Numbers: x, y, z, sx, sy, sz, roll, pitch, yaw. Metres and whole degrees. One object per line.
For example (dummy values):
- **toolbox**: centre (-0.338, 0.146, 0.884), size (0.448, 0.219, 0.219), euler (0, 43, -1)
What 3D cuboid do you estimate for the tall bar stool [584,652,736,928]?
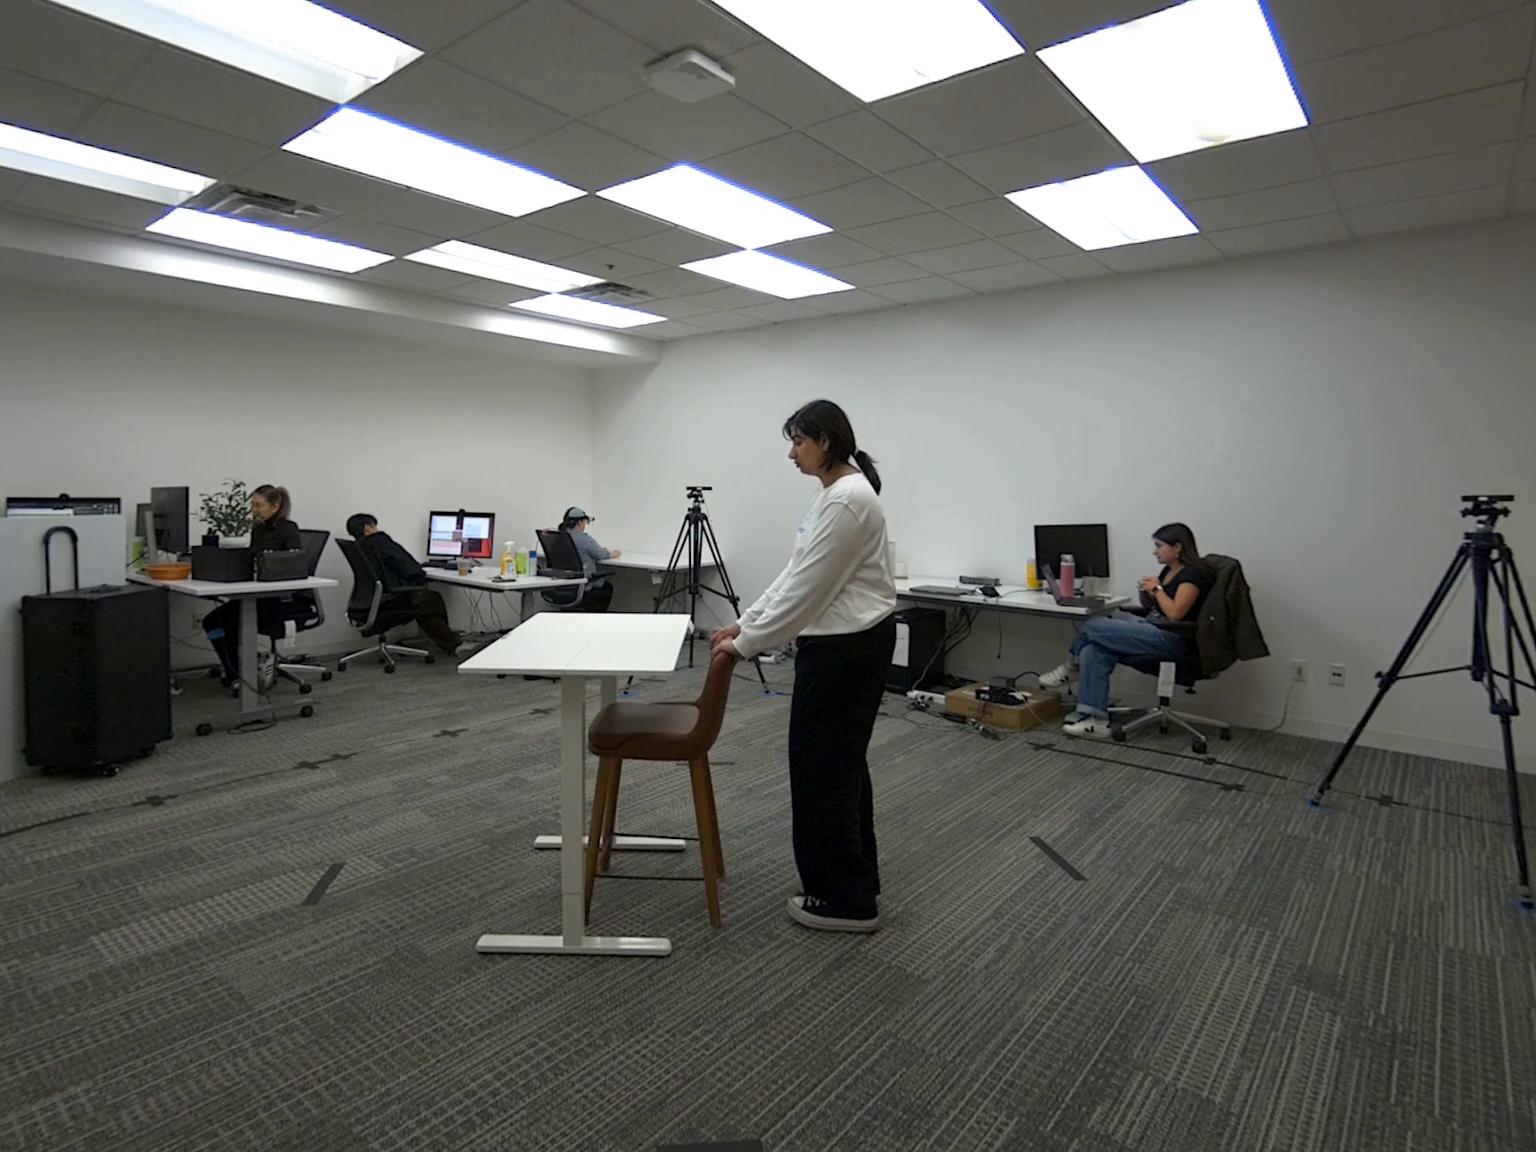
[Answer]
- **tall bar stool**: centre (-0.364, 0.659, 2.856), size (0.469, 0.888, 0.456), euler (2, 2, 2)
